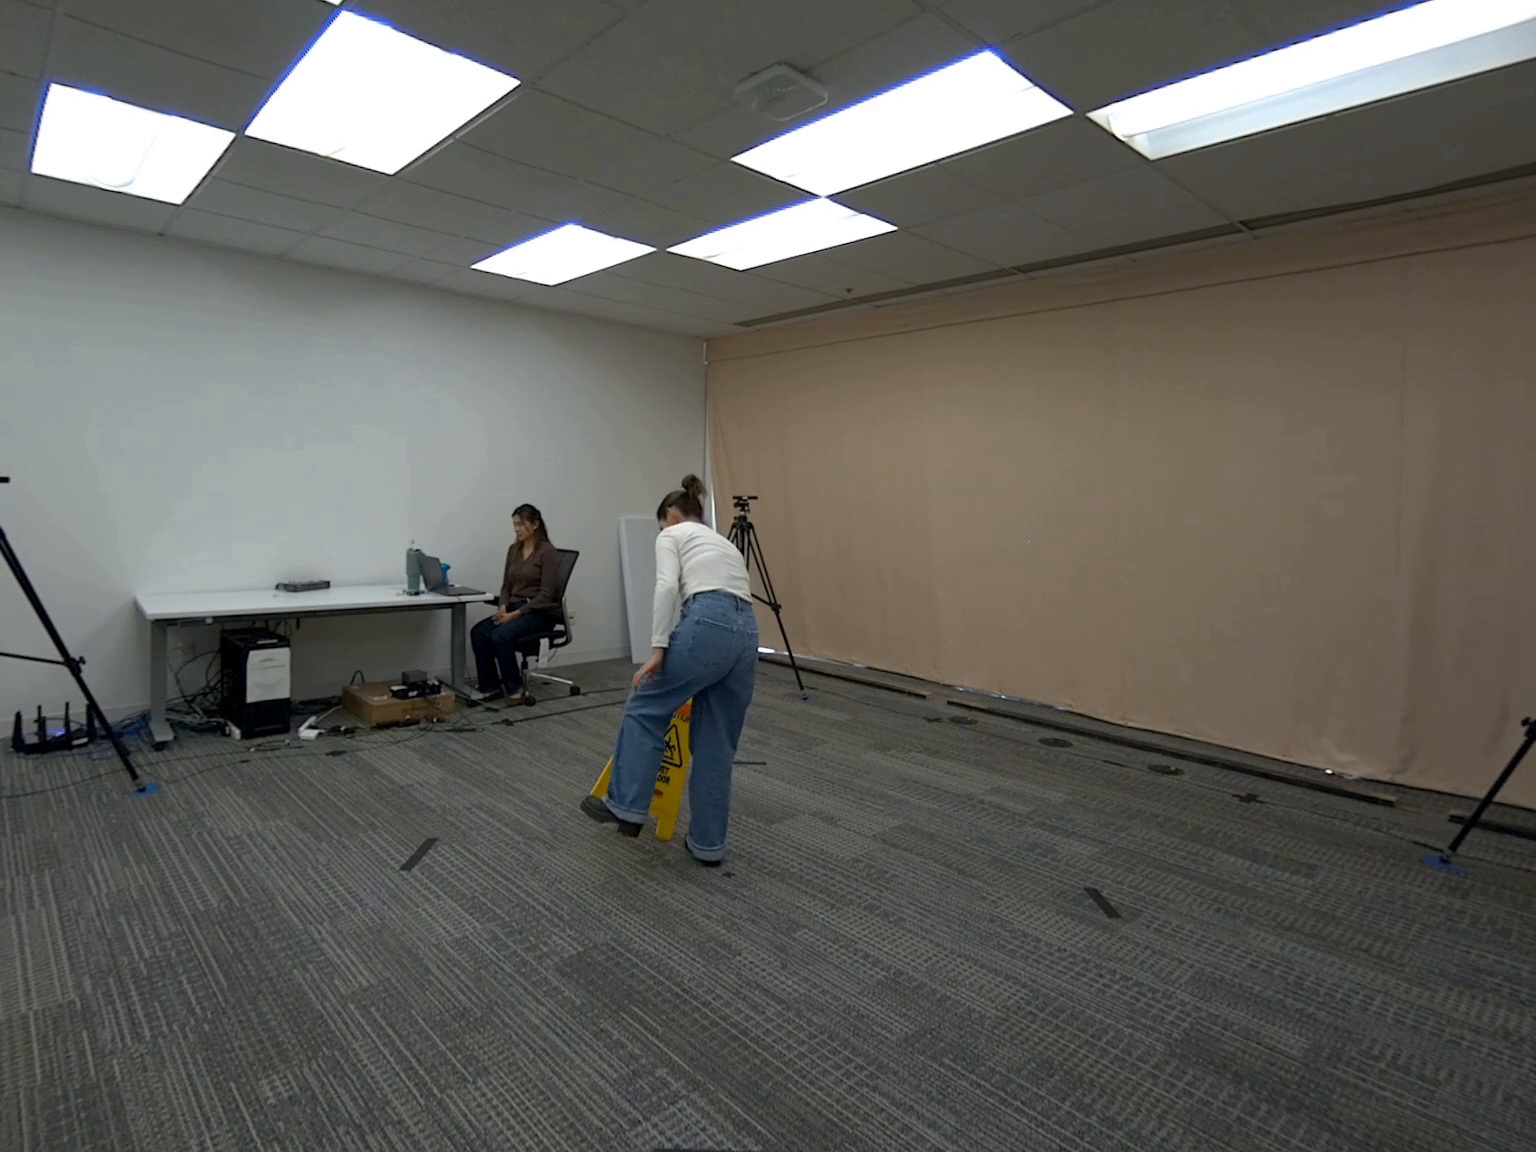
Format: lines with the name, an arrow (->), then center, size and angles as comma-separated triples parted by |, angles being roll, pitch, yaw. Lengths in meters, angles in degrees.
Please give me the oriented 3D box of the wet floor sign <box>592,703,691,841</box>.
wet floor sign -> -0.467, 0.717, 3.505 | 0.274, 0.649, 0.297 | 28, -13, -35
